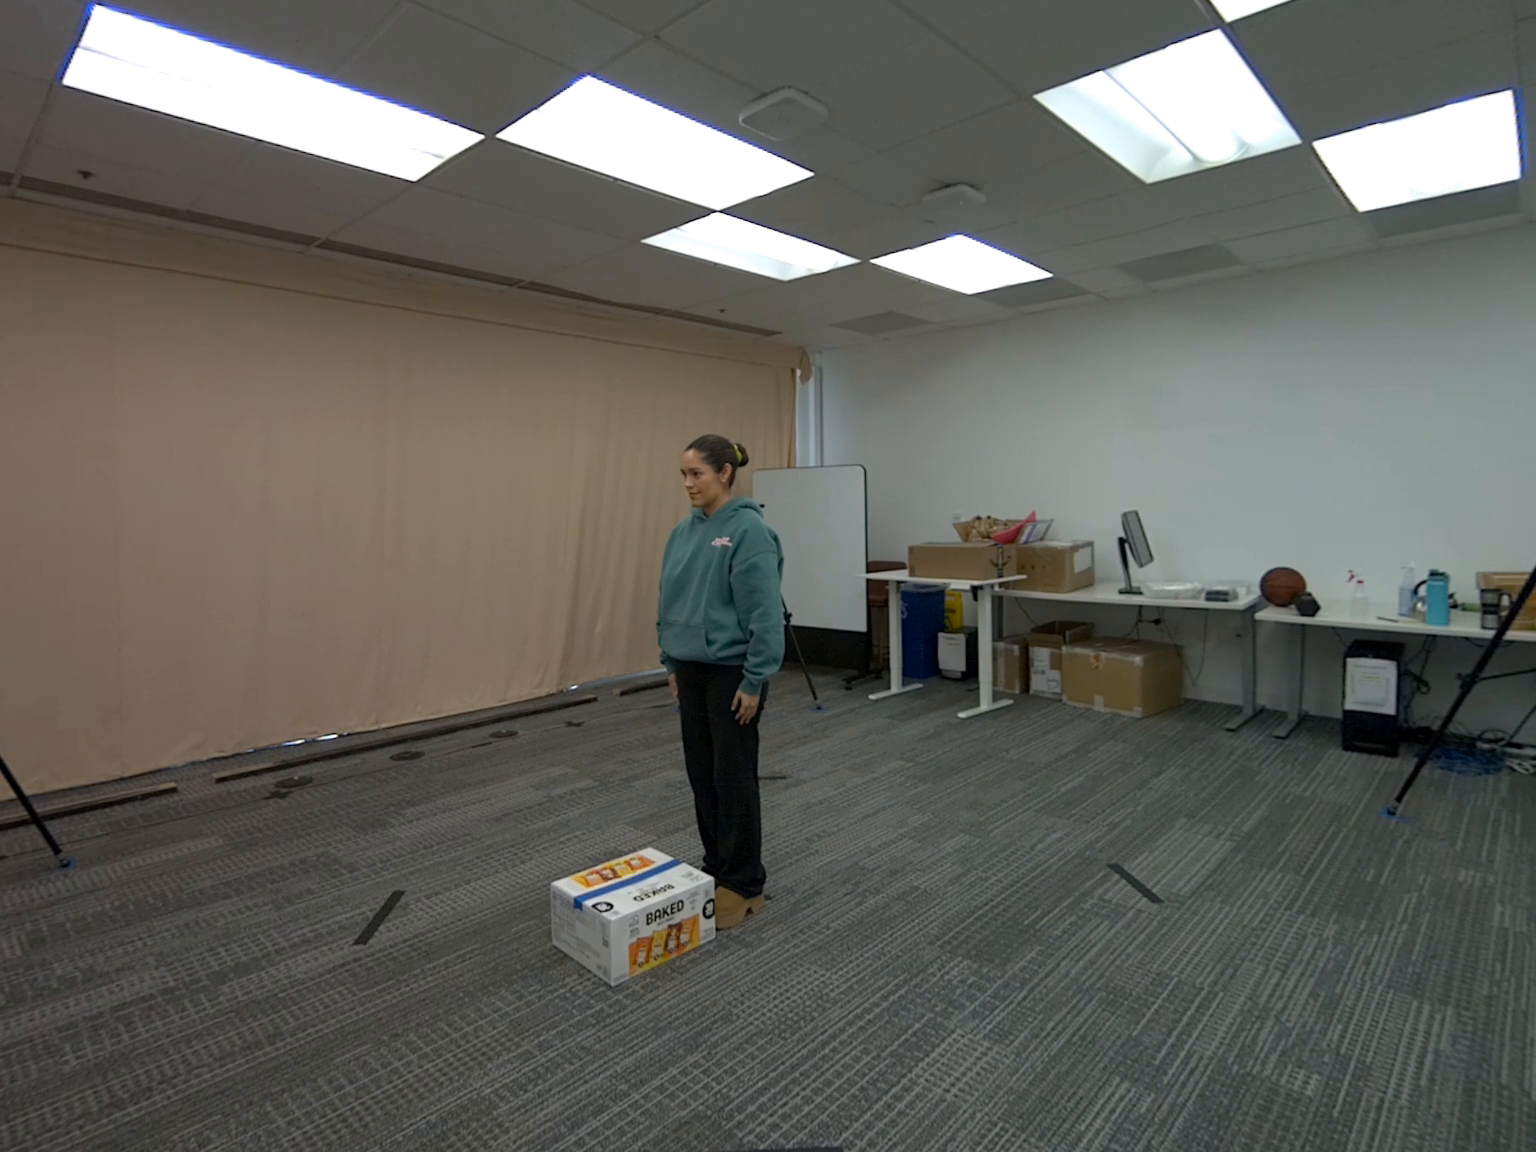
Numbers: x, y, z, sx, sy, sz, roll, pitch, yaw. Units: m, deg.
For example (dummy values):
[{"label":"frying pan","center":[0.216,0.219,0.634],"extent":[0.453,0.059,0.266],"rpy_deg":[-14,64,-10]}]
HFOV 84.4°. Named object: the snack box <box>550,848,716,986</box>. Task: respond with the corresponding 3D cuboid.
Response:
[{"label":"snack box","center":[-0.432,1.075,2.685],"extent":[0.393,0.205,0.351],"rpy_deg":[-5,6,-43]}]
